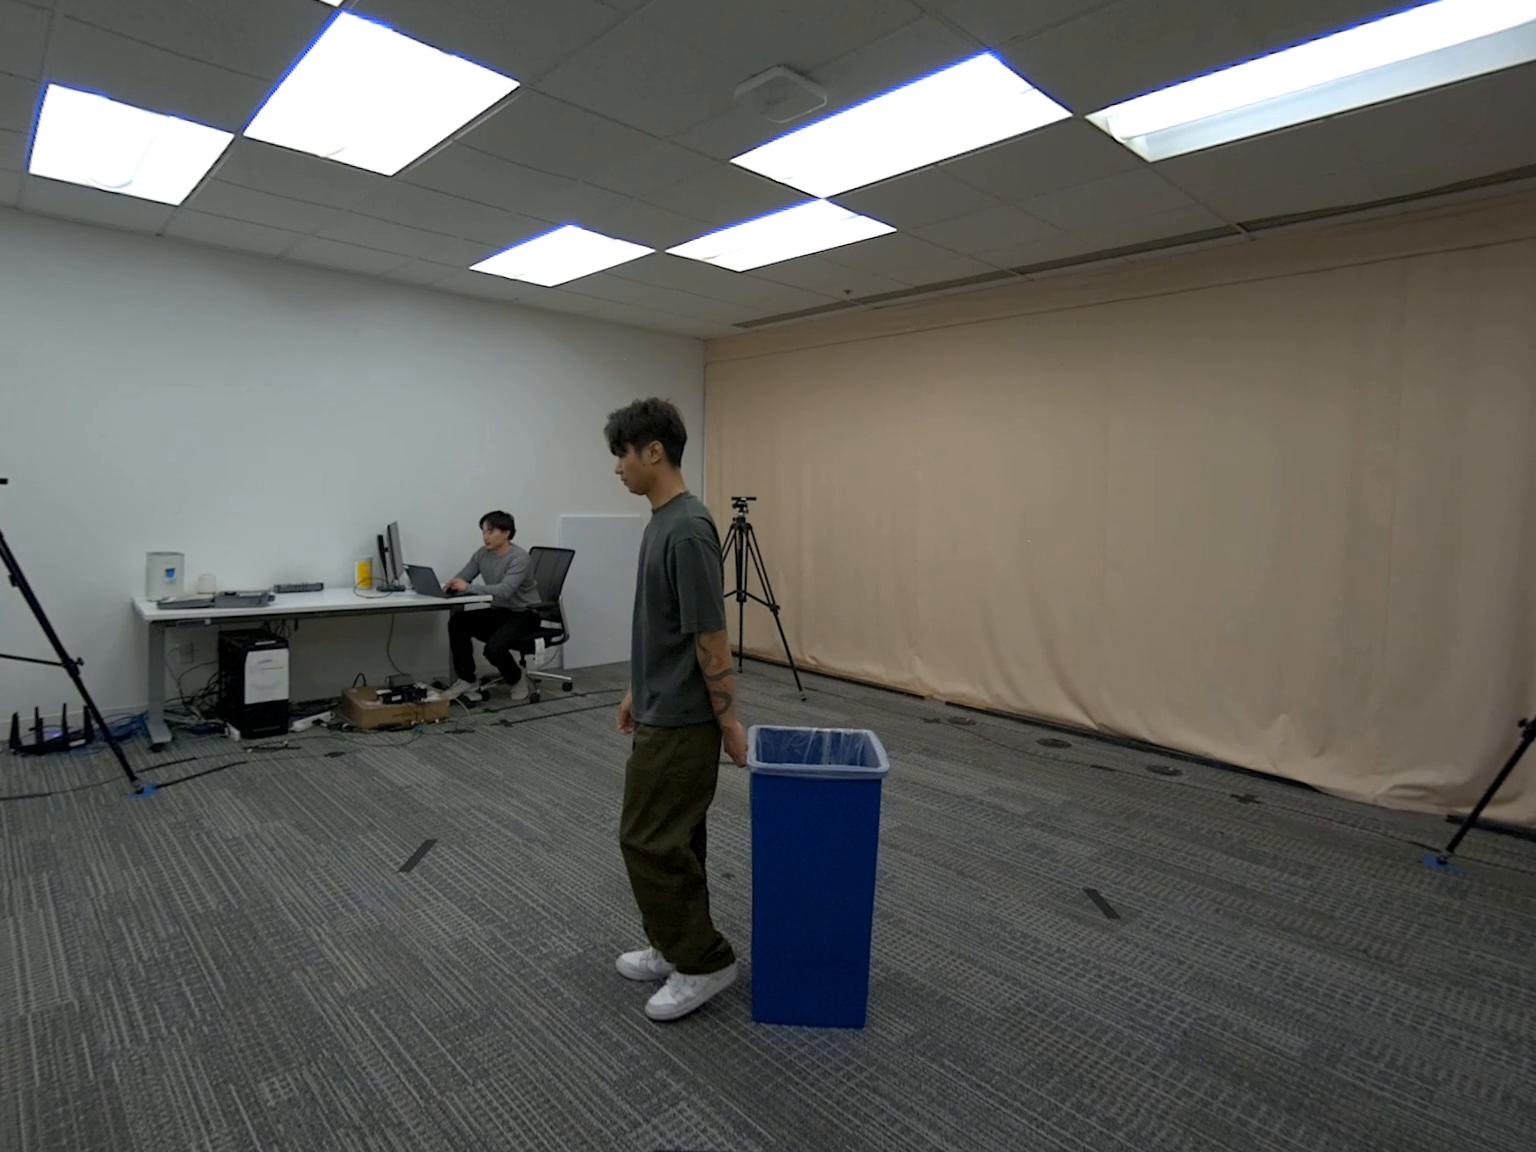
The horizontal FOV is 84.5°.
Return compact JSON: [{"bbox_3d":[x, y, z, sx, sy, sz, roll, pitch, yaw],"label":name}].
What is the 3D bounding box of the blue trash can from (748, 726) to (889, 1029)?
[{"bbox_3d":[0.119,0.828,2.346,0.378,0.712,0.374,1,3,1],"label":"blue trash can"}]
